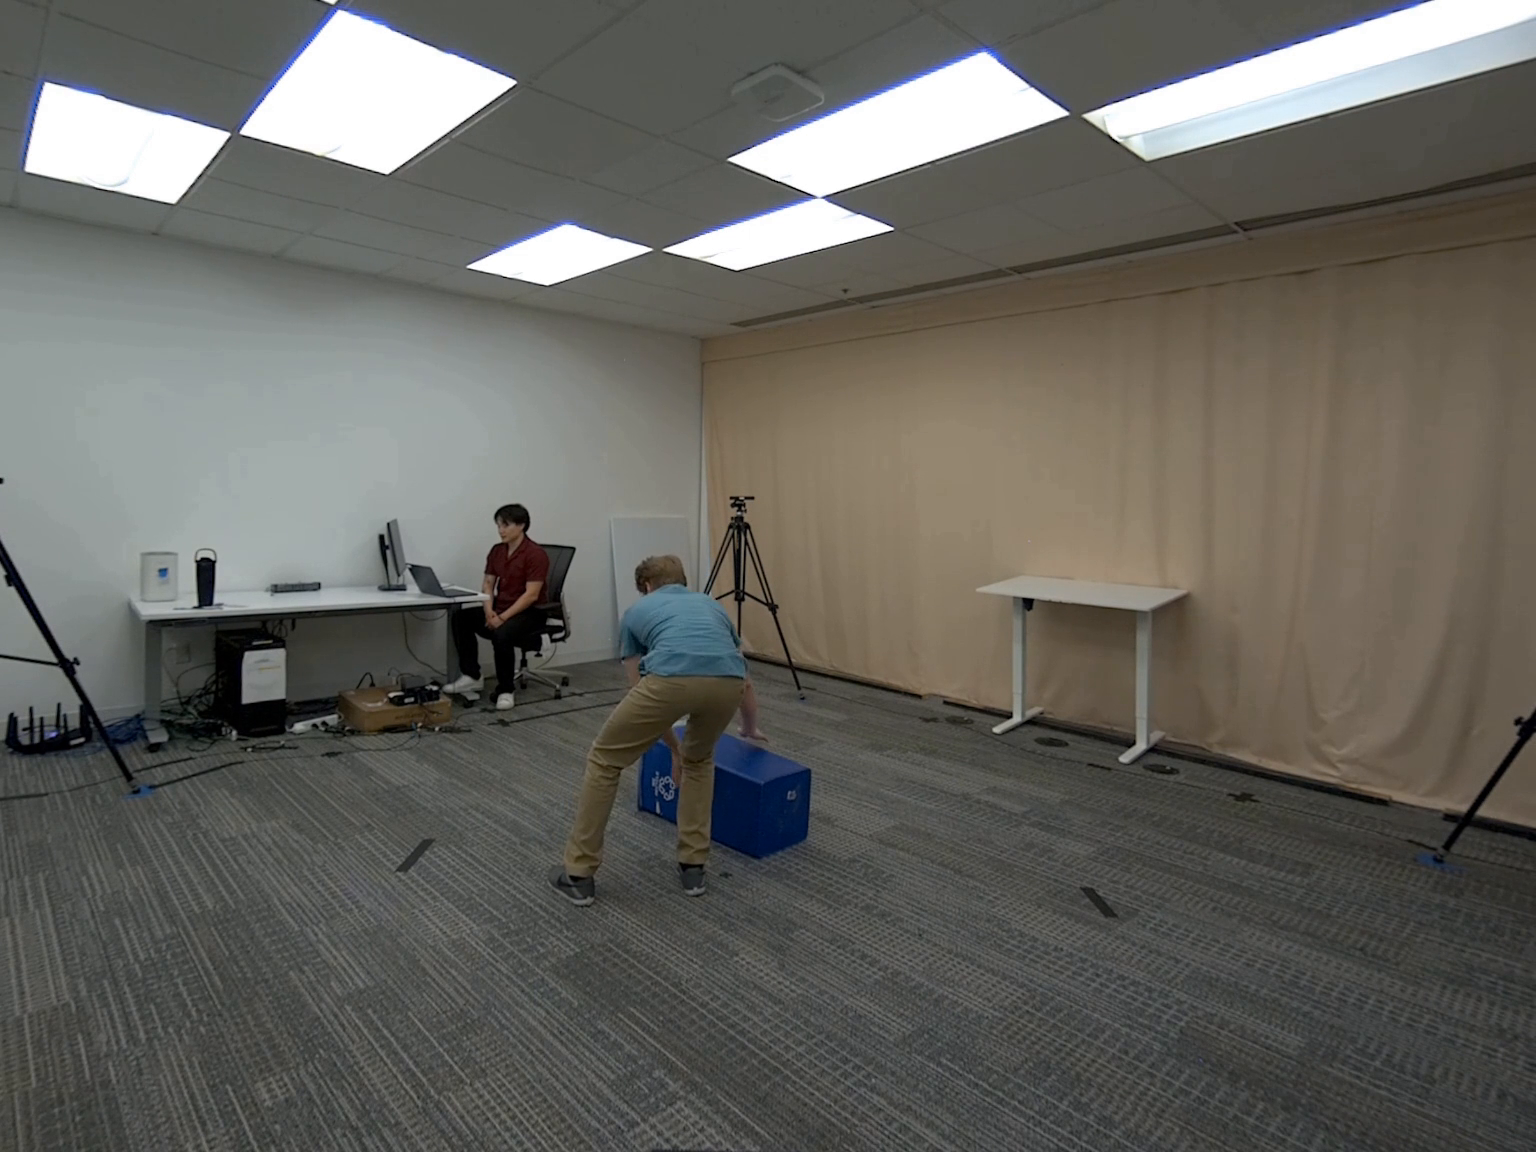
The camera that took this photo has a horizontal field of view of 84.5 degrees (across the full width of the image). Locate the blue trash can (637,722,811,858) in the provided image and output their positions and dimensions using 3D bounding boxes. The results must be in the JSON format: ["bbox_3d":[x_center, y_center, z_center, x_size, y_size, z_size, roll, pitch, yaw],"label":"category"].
[{"bbox_3d":[-0.194,0.897,3.588,0.733,0.376,0.365,10,8,43],"label":"blue trash can"}]
